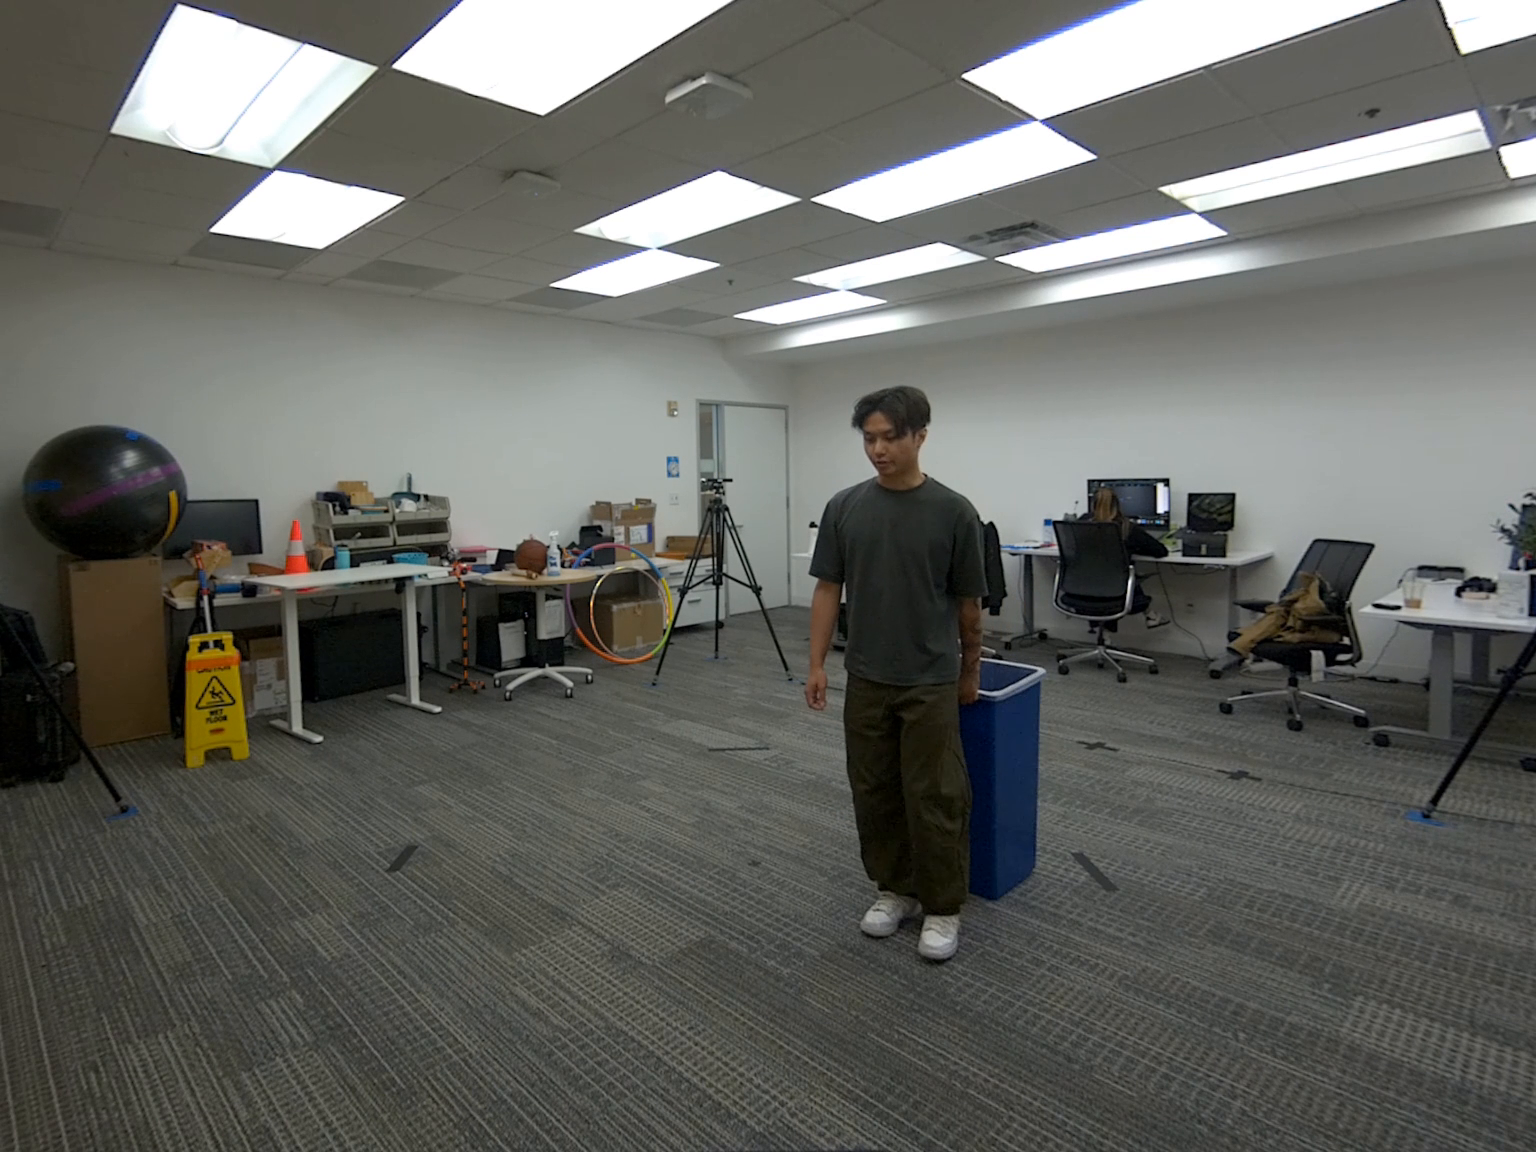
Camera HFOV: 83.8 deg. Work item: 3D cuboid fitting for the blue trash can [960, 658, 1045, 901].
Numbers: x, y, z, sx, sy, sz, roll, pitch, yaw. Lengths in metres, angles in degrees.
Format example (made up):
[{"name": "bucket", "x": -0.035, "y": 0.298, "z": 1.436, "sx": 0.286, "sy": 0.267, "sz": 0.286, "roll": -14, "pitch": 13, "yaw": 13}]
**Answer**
[{"name": "blue trash can", "x": 0.730, "y": 0.682, "z": 2.962, "sx": 0.385, "sy": 0.709, "sz": 0.369, "roll": 2, "pitch": 8, "yaw": 43}]
